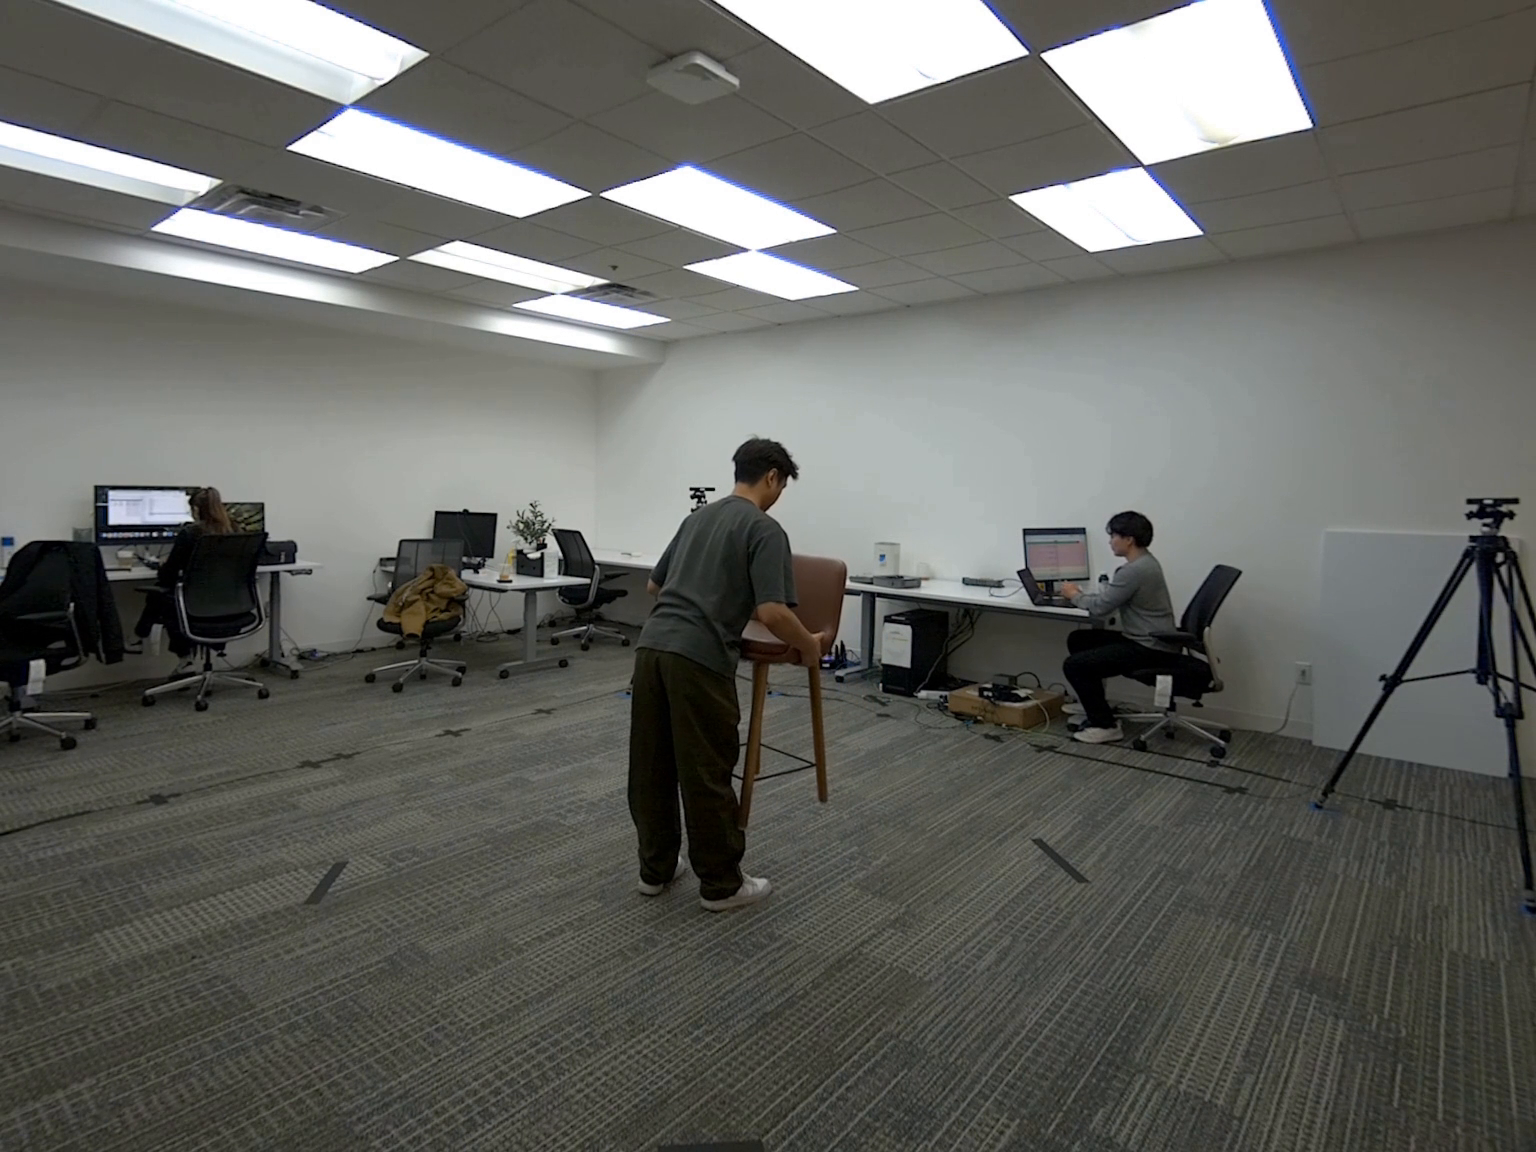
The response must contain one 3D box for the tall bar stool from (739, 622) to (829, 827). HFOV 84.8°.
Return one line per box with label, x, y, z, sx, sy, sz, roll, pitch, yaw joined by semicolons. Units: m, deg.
tall bar stool;-0.035;0.368;3.043;0.452;0.889;0.473;4;2;-44
